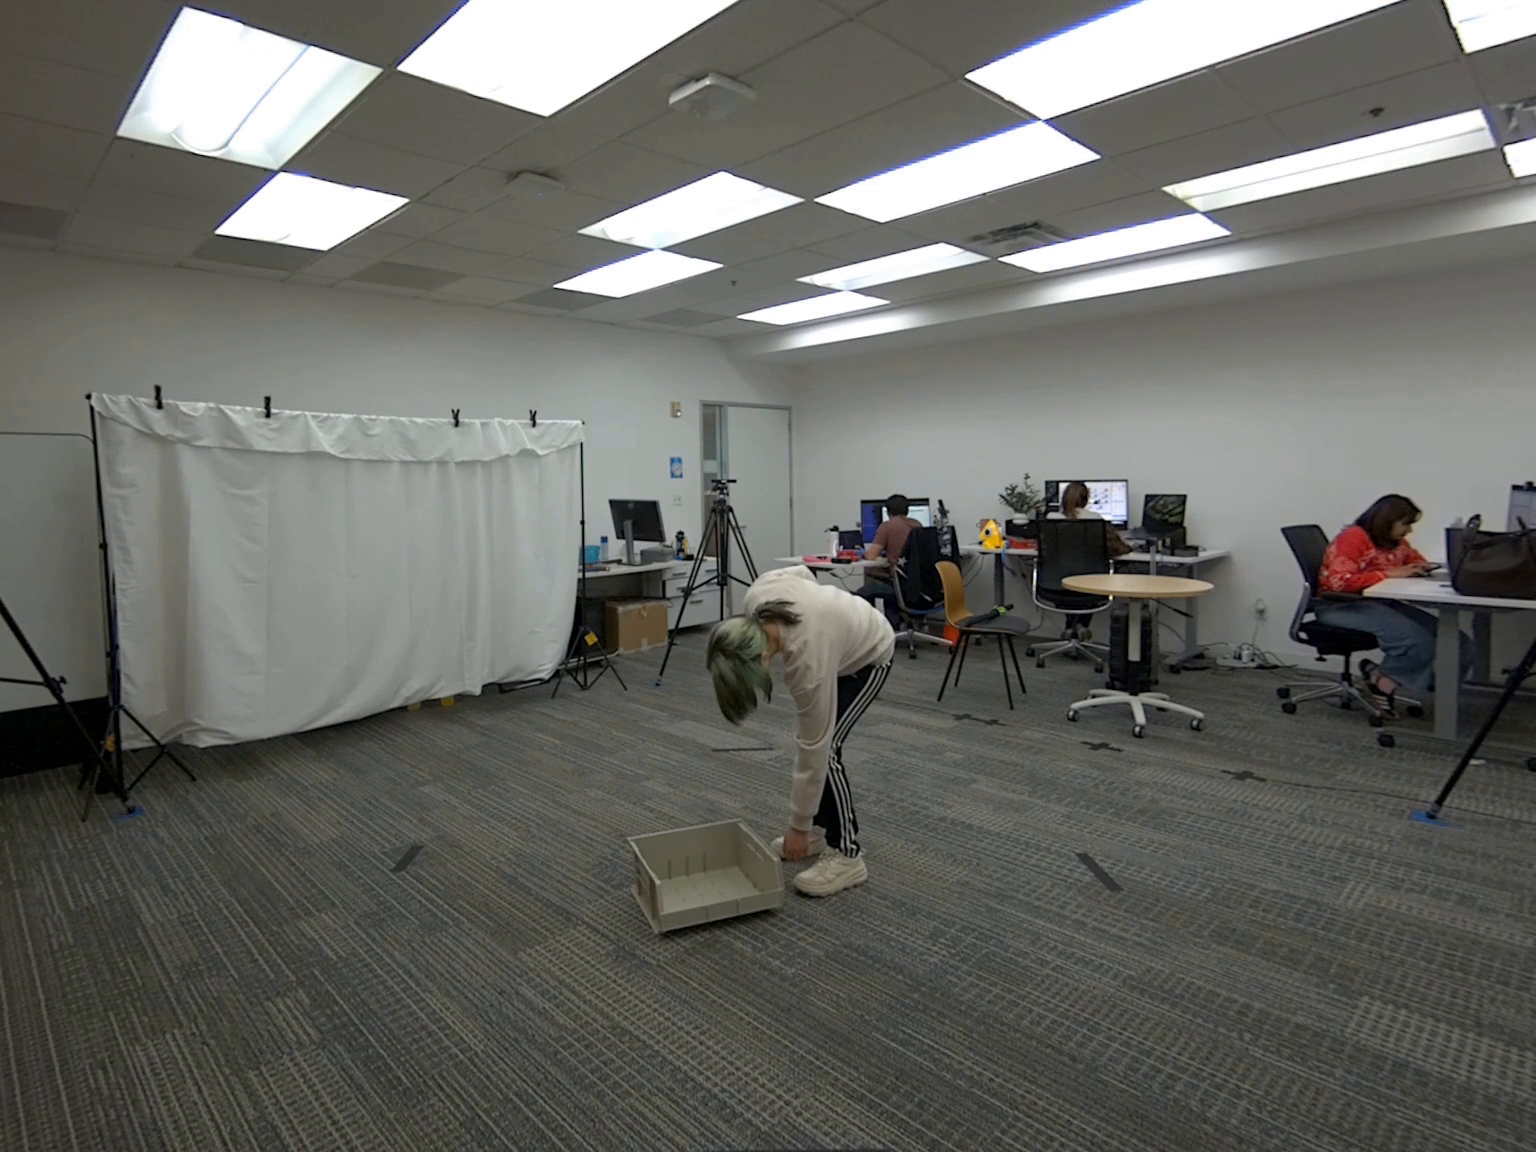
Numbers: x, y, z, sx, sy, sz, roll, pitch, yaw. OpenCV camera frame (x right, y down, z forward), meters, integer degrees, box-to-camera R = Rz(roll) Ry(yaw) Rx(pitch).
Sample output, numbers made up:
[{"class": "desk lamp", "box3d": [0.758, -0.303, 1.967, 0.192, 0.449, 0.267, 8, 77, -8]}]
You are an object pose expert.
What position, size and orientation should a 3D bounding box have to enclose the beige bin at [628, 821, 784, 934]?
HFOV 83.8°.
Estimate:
[{"class": "beige bin", "box3d": [-0.210, 0.996, 2.821, 0.414, 0.188, 0.386, -4, 6, -22]}]
